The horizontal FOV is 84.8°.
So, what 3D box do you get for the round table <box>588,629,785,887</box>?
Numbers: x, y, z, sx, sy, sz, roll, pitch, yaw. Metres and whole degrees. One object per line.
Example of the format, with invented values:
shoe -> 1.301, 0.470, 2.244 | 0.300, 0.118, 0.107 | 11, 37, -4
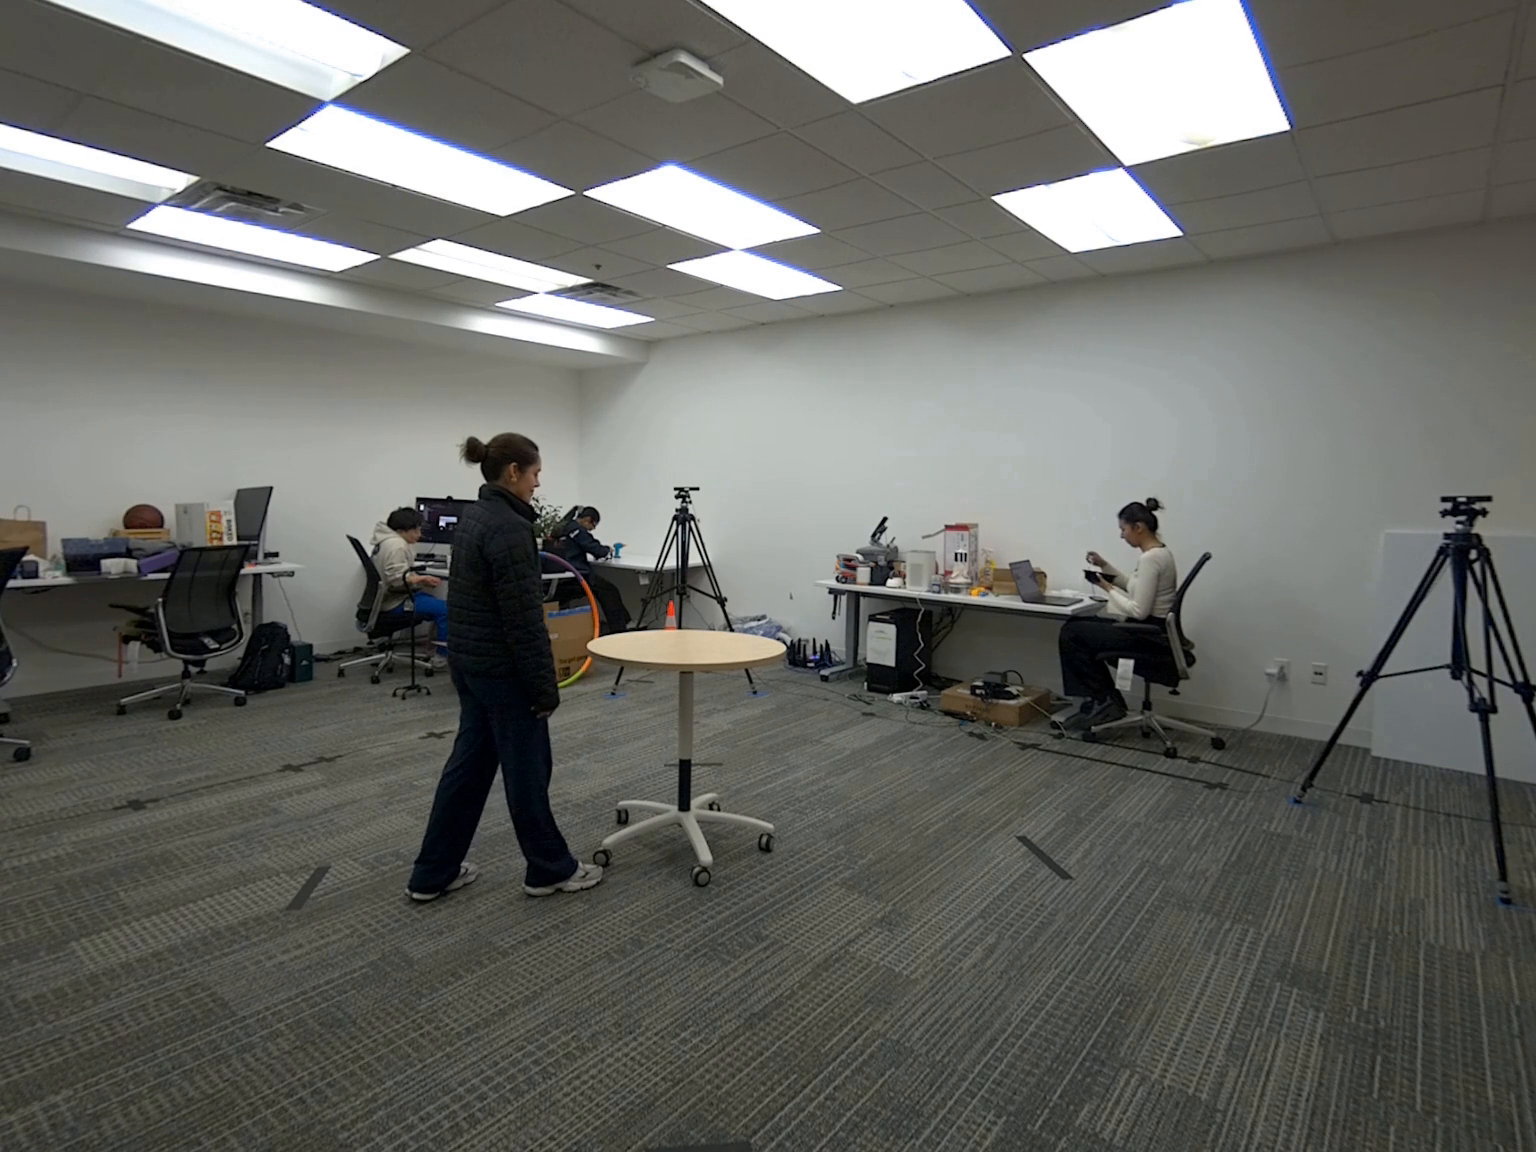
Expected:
round table -> -0.323, 0.654, 3.304 | 0.784, 0.785, 0.788 | 1, 3, -2
